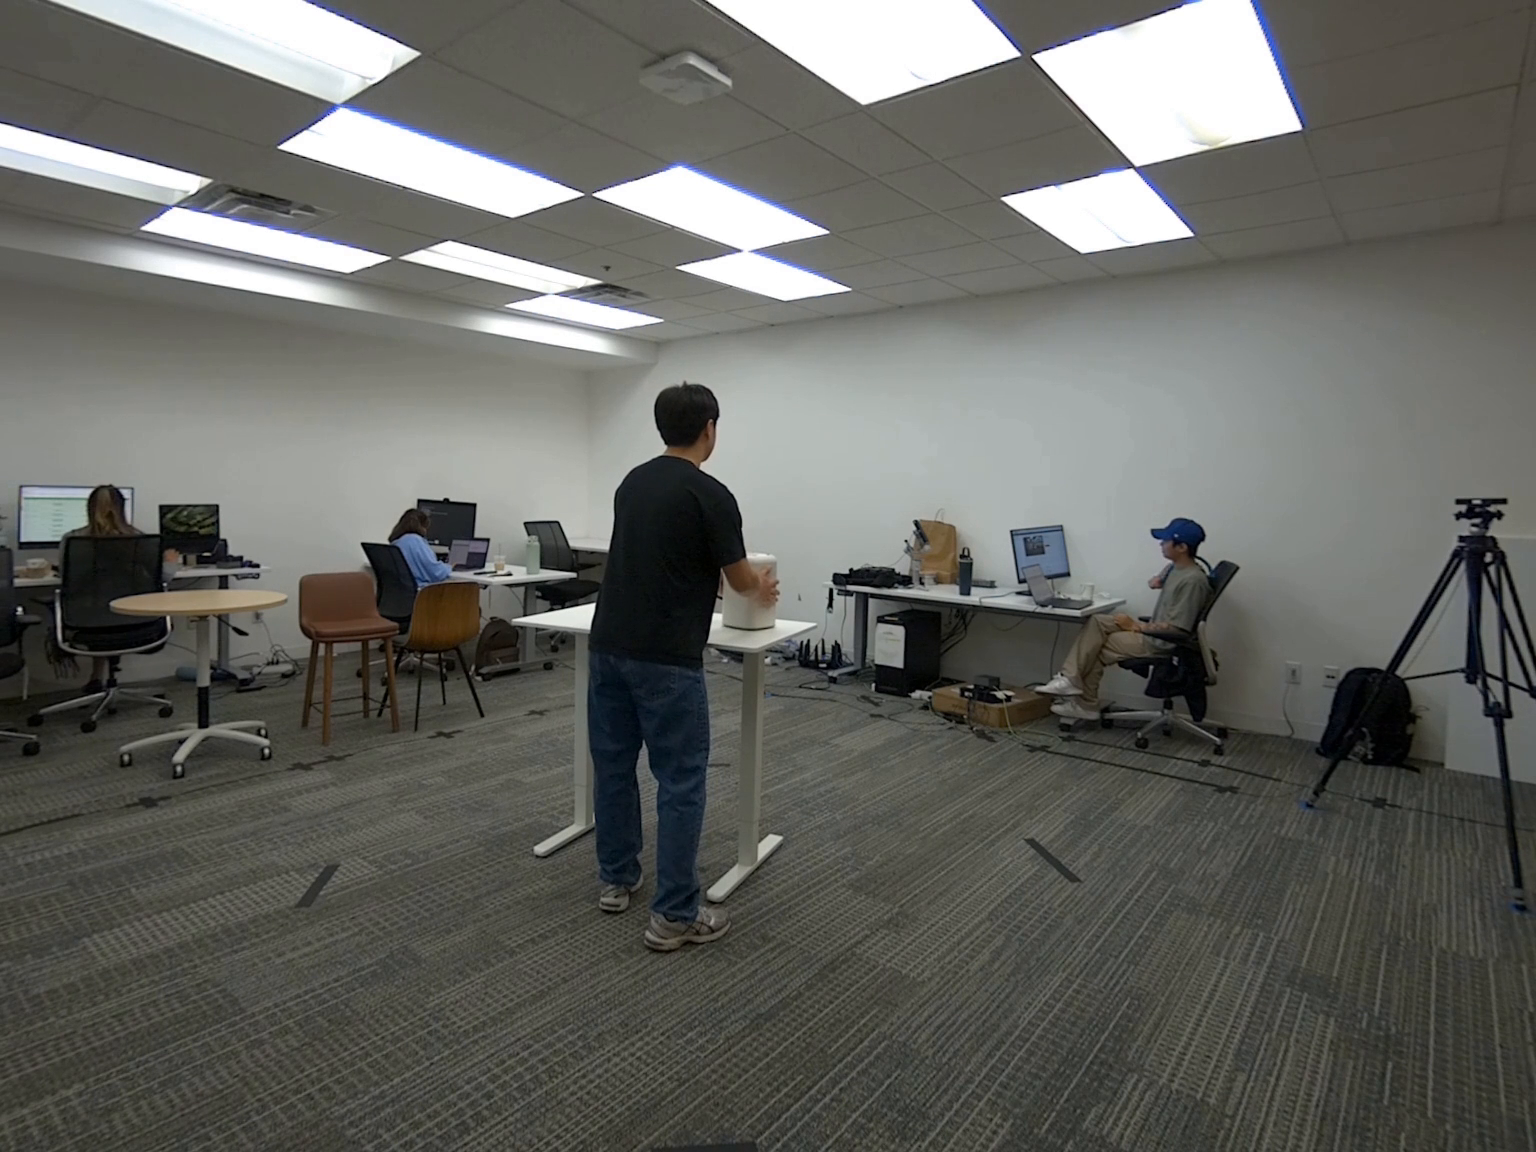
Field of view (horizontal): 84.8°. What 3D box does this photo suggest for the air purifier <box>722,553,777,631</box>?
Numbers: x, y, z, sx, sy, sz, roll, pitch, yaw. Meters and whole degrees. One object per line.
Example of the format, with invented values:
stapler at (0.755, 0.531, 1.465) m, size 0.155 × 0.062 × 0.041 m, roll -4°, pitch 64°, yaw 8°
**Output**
air purifier at (-0.082, 0.049, 3.157) m, size 0.177 × 0.264 × 0.166 m, roll 5°, pitch 5°, yaw 40°
